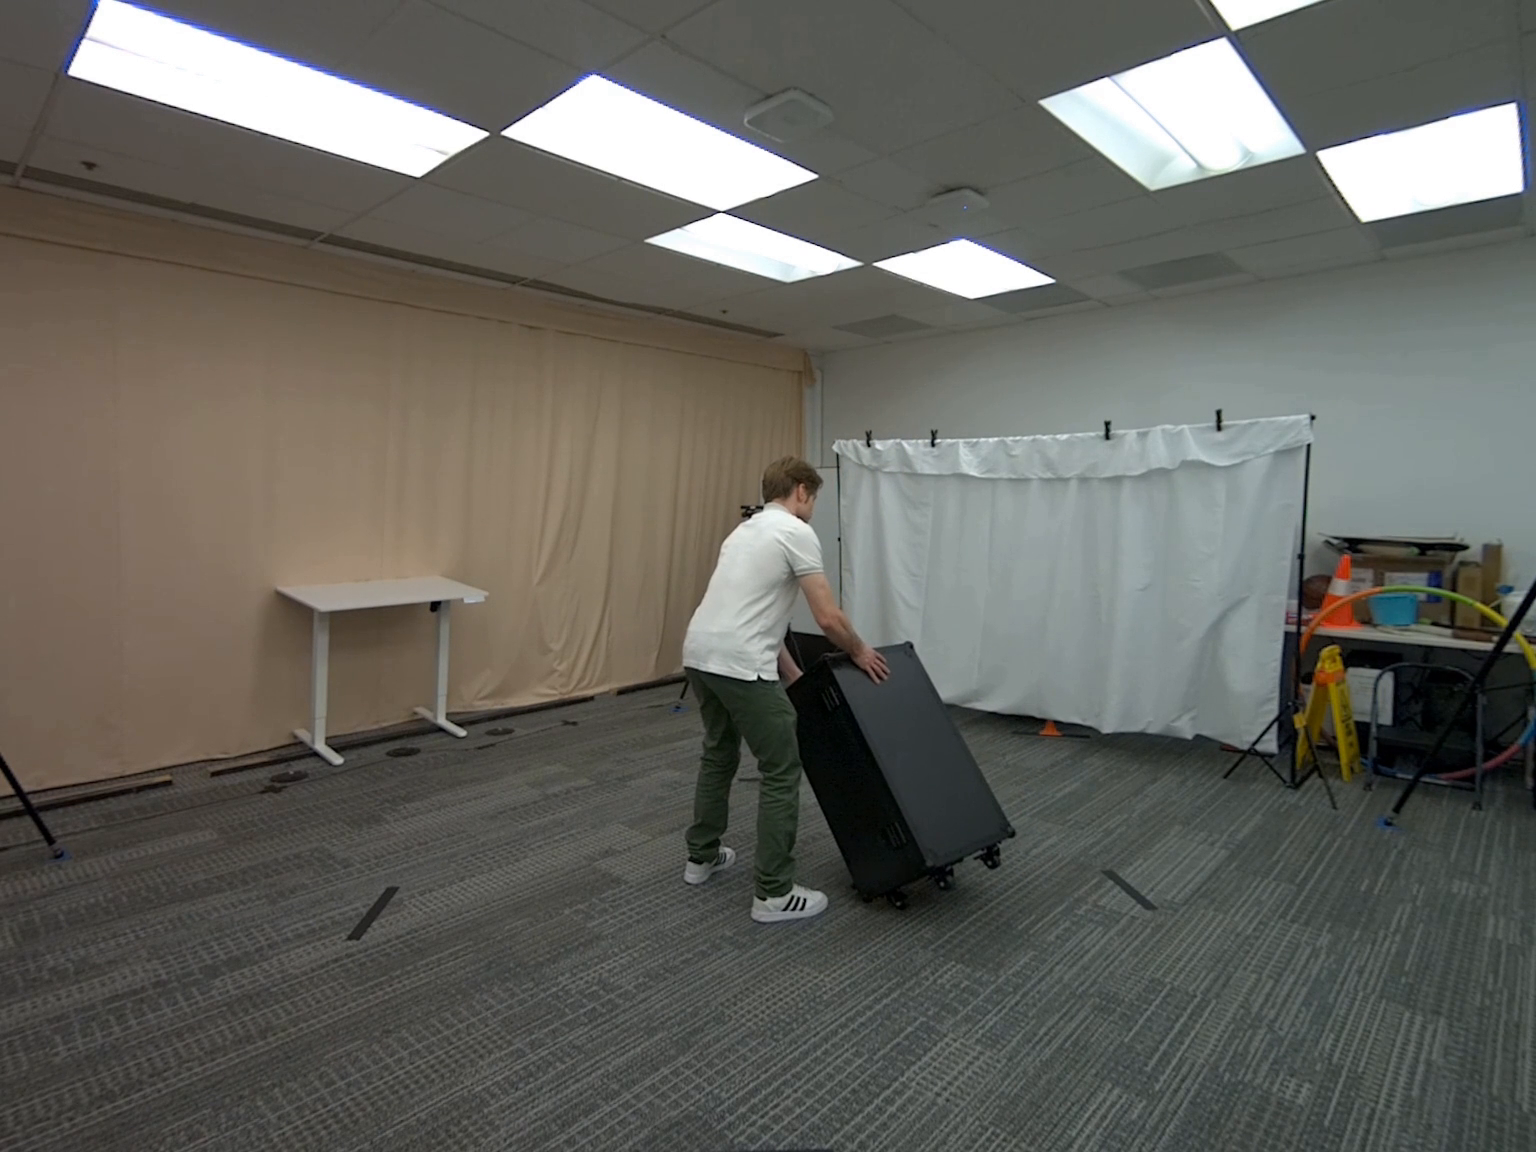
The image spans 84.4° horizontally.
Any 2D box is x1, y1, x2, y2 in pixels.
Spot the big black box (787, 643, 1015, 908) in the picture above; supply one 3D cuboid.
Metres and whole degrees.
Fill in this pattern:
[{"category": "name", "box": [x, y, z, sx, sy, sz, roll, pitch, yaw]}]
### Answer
[{"category": "big black box", "box": [0.456, 0.725, 3.082, 0.507, 0.889, 0.388, -2, -33, -41]}]
